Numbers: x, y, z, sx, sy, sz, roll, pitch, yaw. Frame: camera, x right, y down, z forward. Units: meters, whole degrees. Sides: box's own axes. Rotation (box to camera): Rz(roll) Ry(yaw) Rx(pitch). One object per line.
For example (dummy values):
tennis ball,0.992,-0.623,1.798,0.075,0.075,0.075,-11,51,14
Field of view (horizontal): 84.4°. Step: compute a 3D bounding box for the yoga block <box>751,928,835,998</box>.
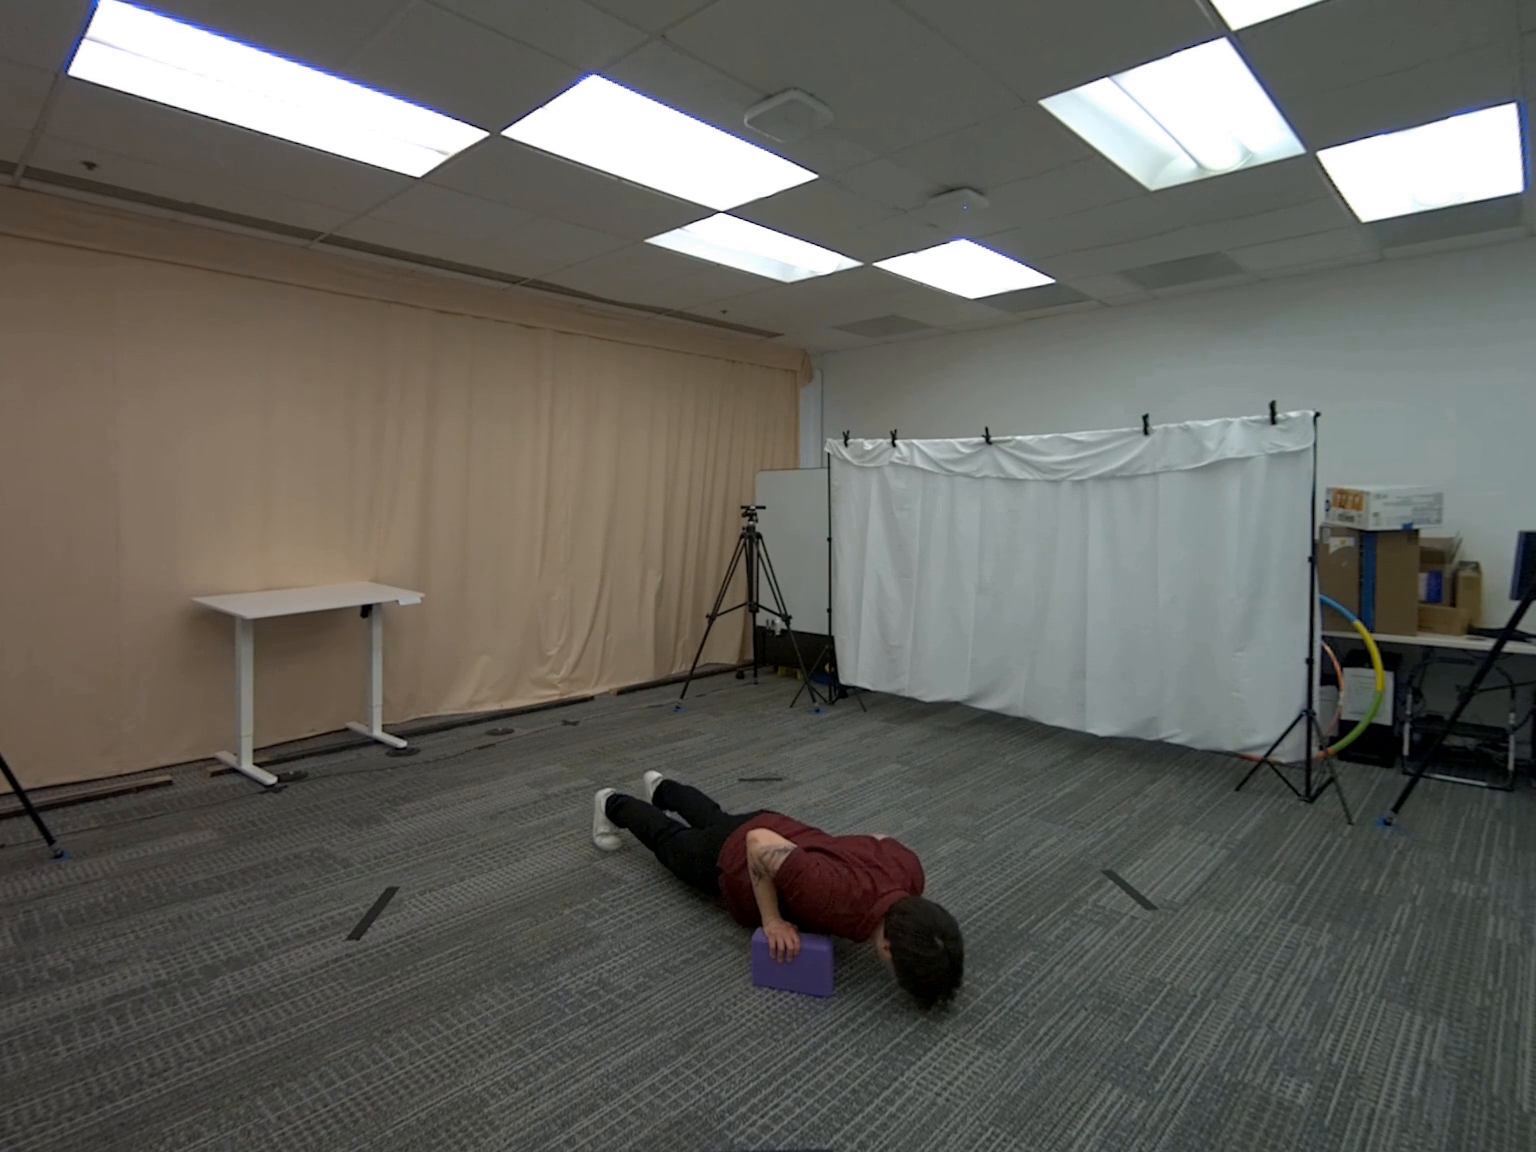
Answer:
yoga block,0.075,1.113,2.453,0.233,0.149,0.075,-1,2,16
